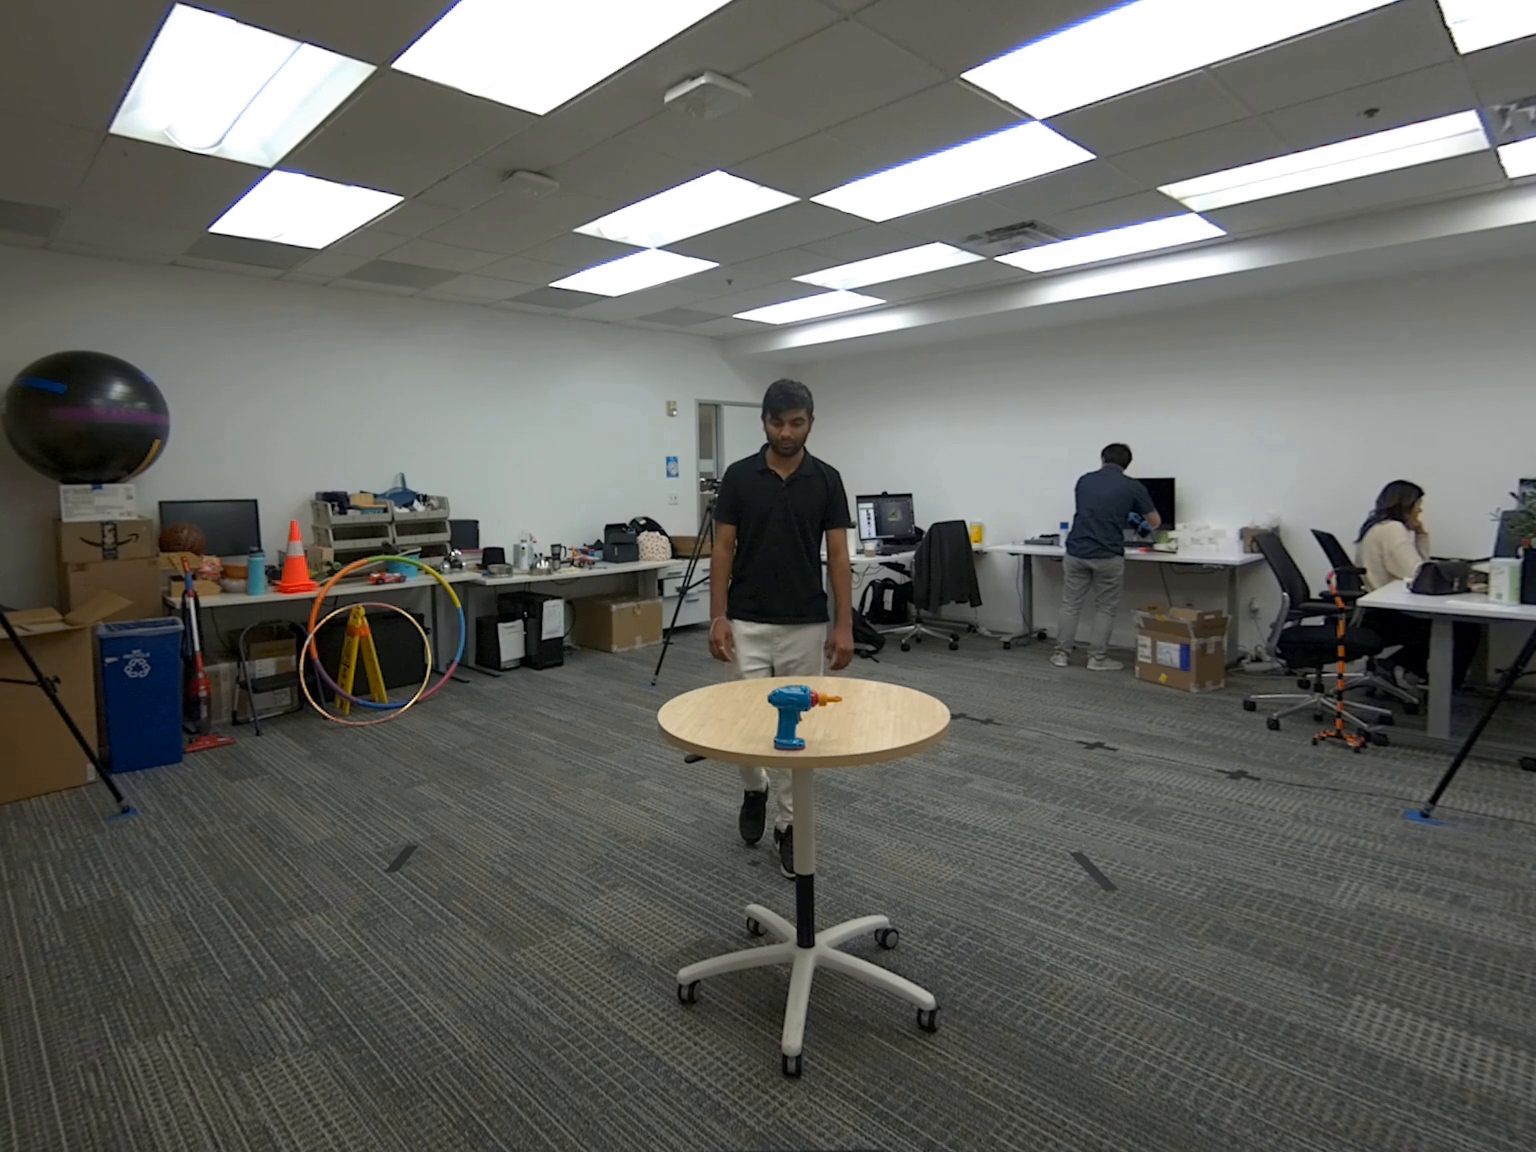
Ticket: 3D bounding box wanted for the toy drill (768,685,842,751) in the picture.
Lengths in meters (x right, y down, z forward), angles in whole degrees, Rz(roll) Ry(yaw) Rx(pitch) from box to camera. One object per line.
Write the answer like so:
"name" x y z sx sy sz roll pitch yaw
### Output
"toy drill" 0.092 0.322 1.948 0.170 0.146 0.061 0 3 3
